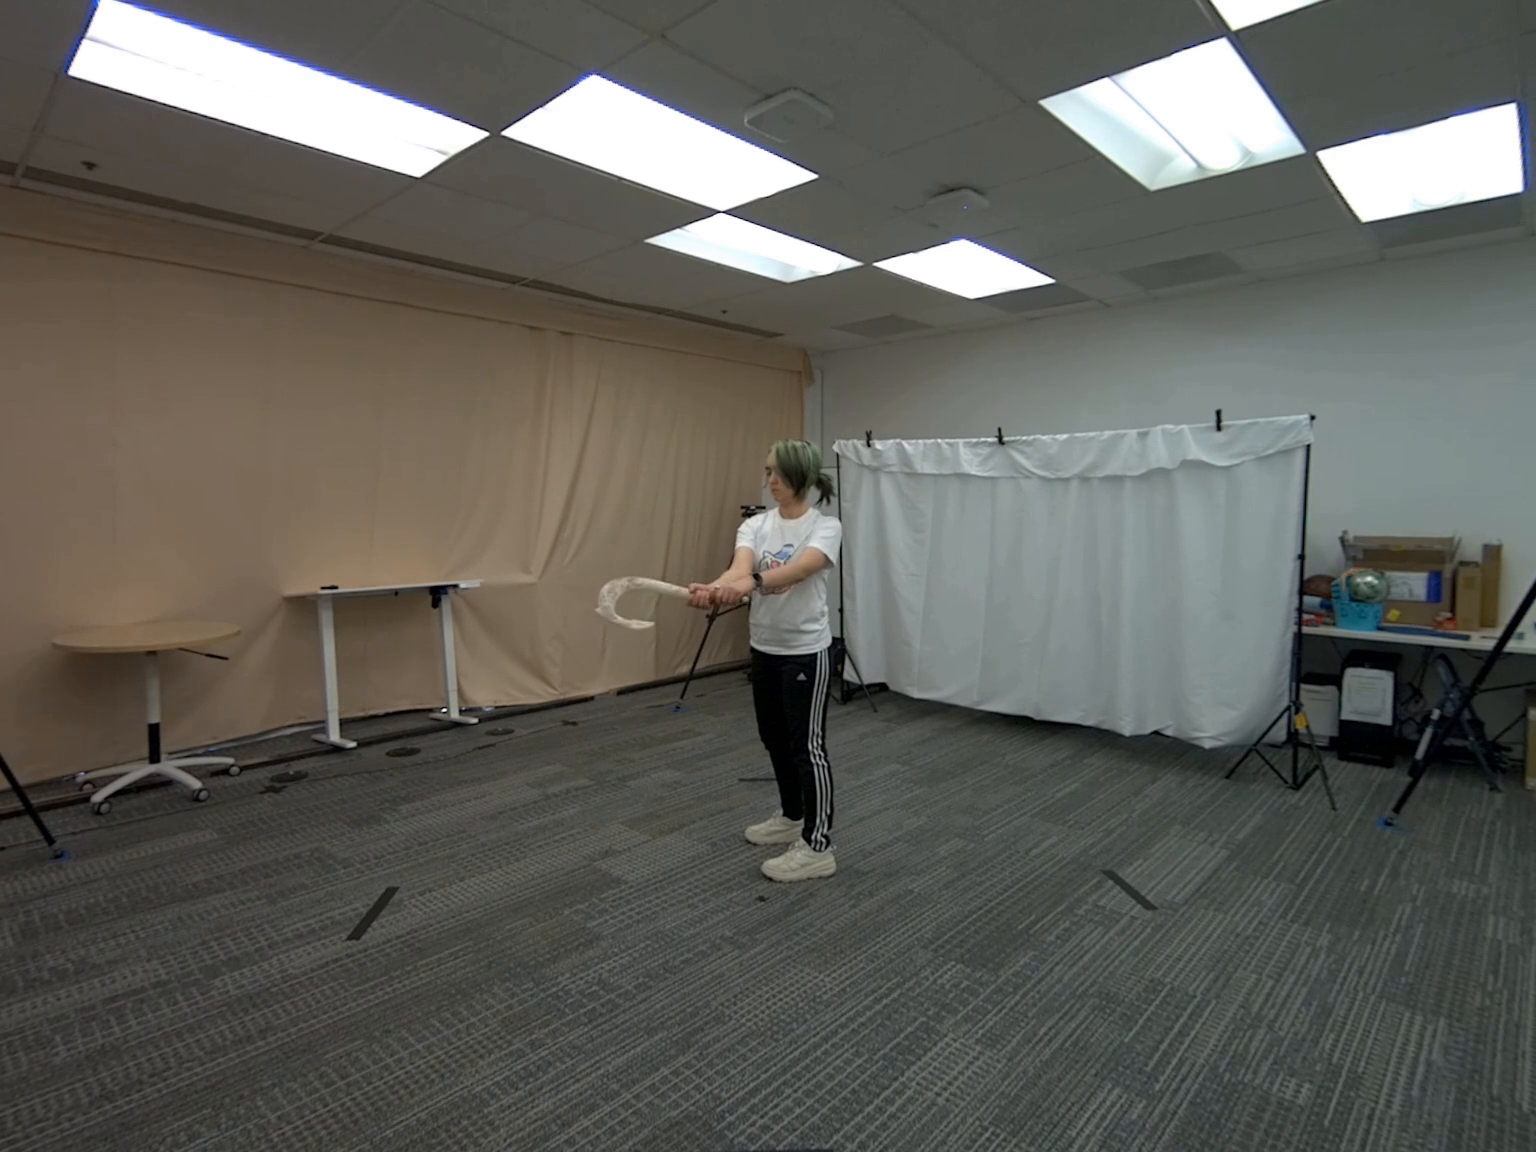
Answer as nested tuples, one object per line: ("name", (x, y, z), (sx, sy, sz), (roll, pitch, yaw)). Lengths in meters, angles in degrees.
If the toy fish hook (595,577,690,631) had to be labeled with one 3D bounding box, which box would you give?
("toy fish hook", (-0.304, 0.100, 2.779), (0.506, 0.229, 0.047), (0, -40, -1))
